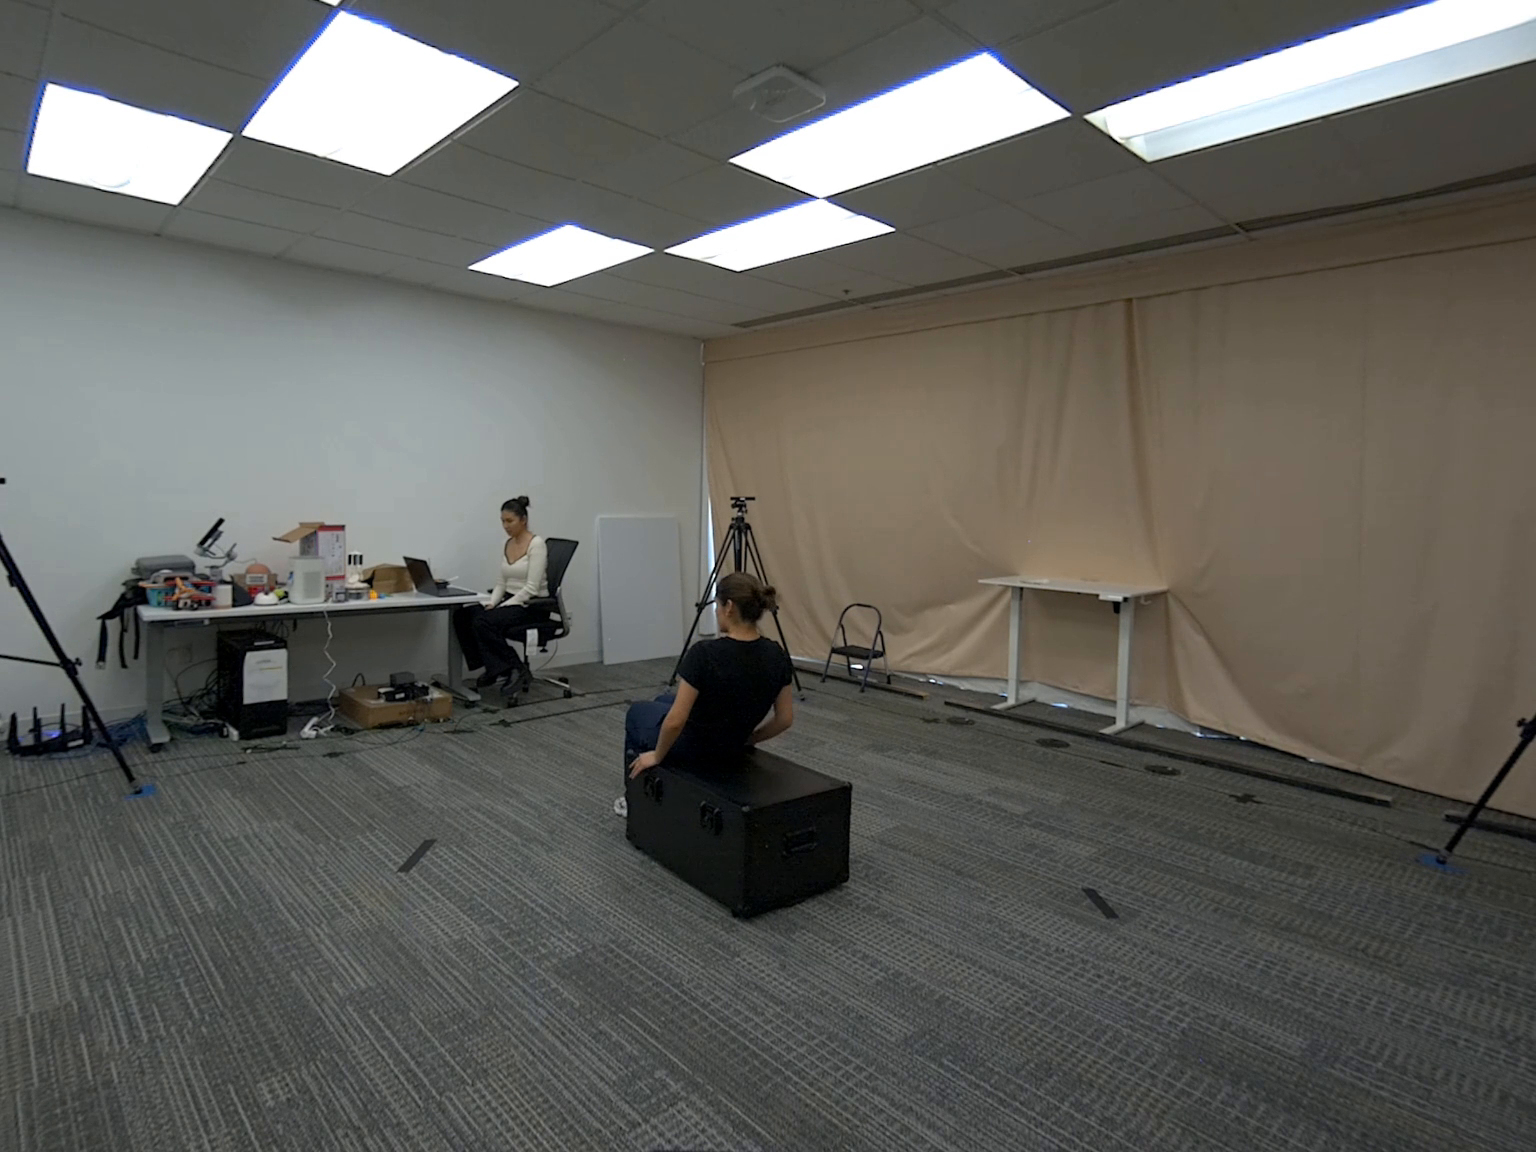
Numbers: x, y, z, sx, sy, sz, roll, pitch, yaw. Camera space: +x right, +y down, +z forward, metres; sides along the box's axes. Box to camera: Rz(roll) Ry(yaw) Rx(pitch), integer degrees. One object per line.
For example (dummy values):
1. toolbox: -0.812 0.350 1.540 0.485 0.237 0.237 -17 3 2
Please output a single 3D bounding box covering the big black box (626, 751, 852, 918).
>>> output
1. big black box: -0.121 0.918 3.146 0.510 0.395 0.882 -2 4 -38
